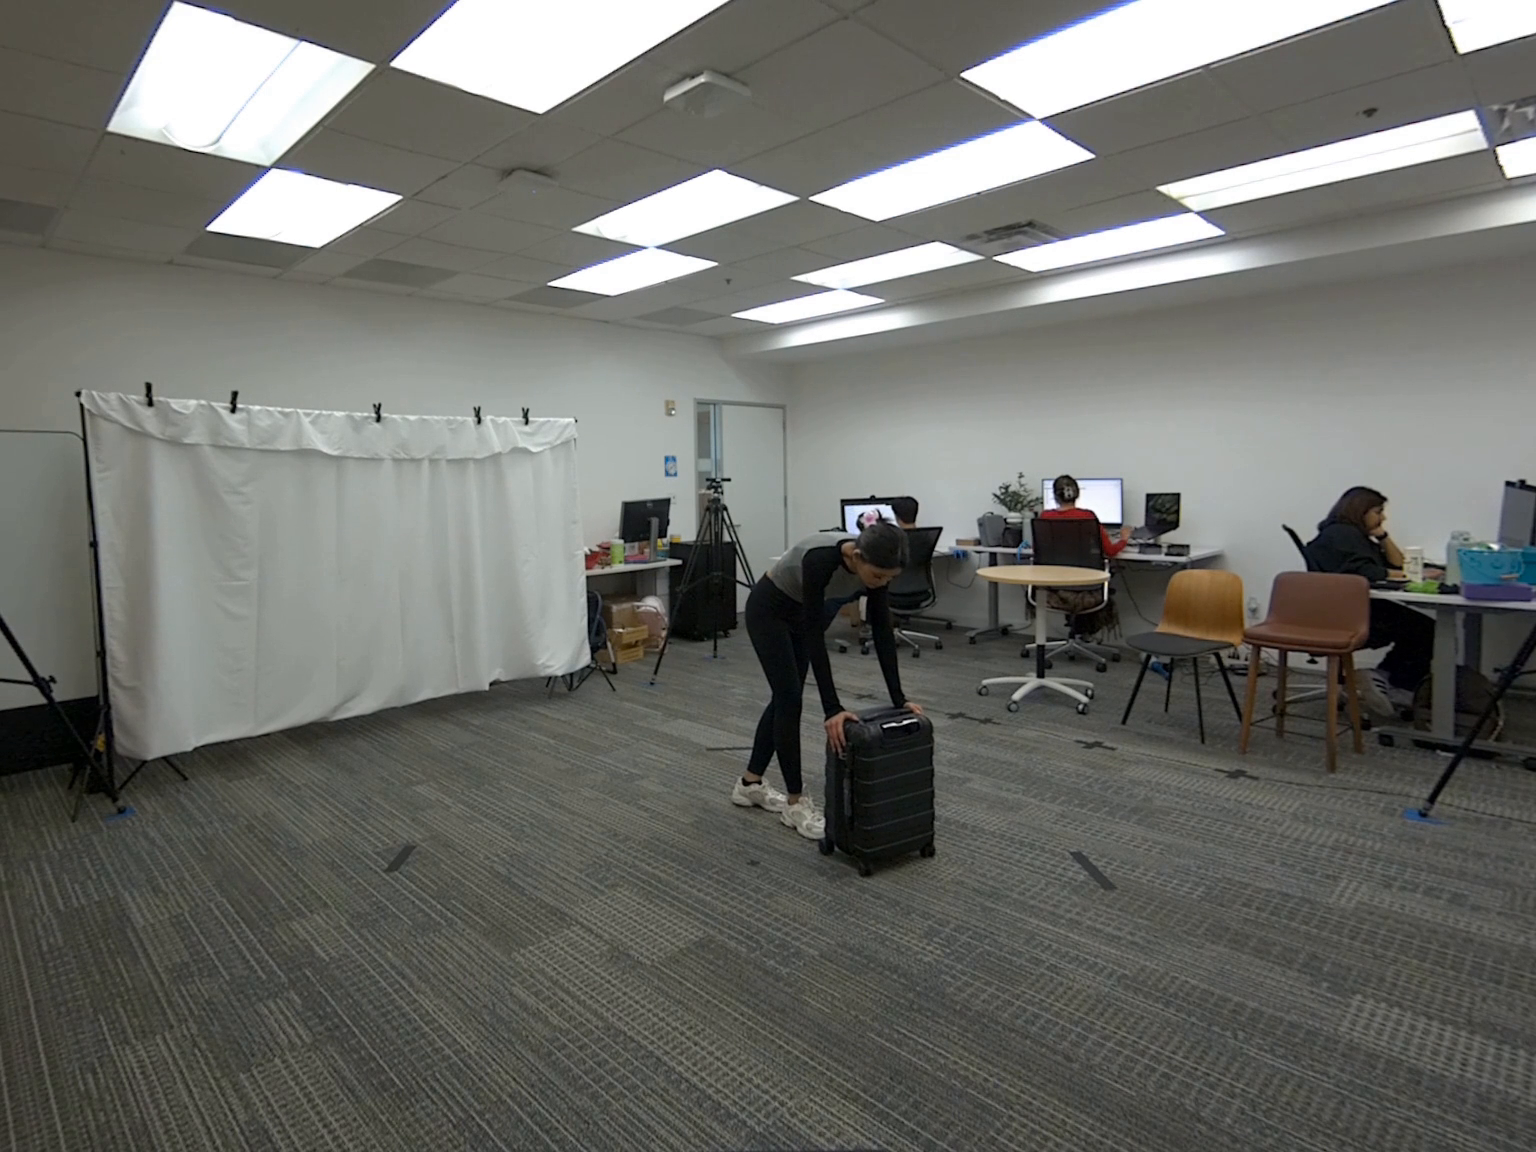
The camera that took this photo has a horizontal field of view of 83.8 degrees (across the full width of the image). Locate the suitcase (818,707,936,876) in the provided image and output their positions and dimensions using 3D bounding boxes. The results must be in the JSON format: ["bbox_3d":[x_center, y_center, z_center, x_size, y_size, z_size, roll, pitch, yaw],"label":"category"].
[{"bbox_3d":[0.410,0.759,3.112,0.366,0.547,0.255,-3,6,-31],"label":"suitcase"}]
